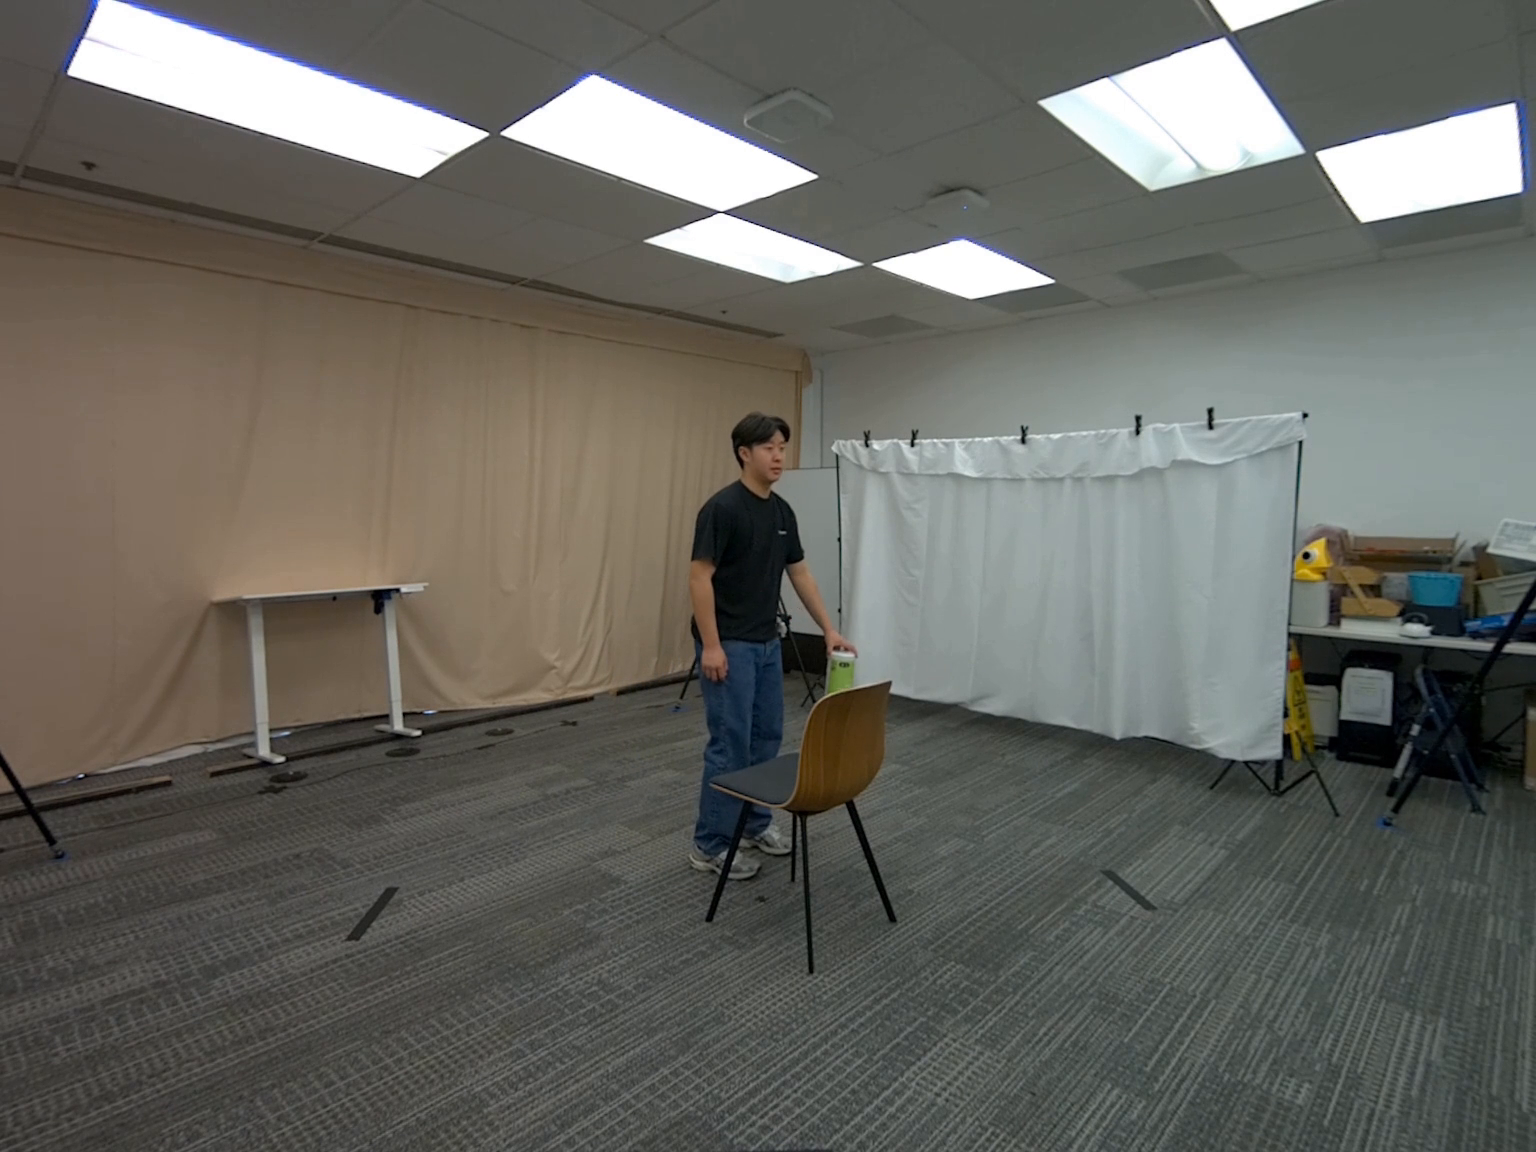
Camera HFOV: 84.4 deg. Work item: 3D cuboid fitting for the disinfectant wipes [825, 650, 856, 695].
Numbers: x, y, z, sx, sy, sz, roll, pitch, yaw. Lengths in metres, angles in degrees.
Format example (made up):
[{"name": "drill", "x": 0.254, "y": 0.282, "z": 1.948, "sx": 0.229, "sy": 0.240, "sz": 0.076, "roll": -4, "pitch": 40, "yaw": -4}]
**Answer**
[{"name": "disinfectant wipes", "x": 0.295, "y": 0.410, "z": 3.430, "sx": 0.117, "sy": 0.216, "sz": 0.119, "roll": 3, "pitch": 11, "yaw": -3}]
